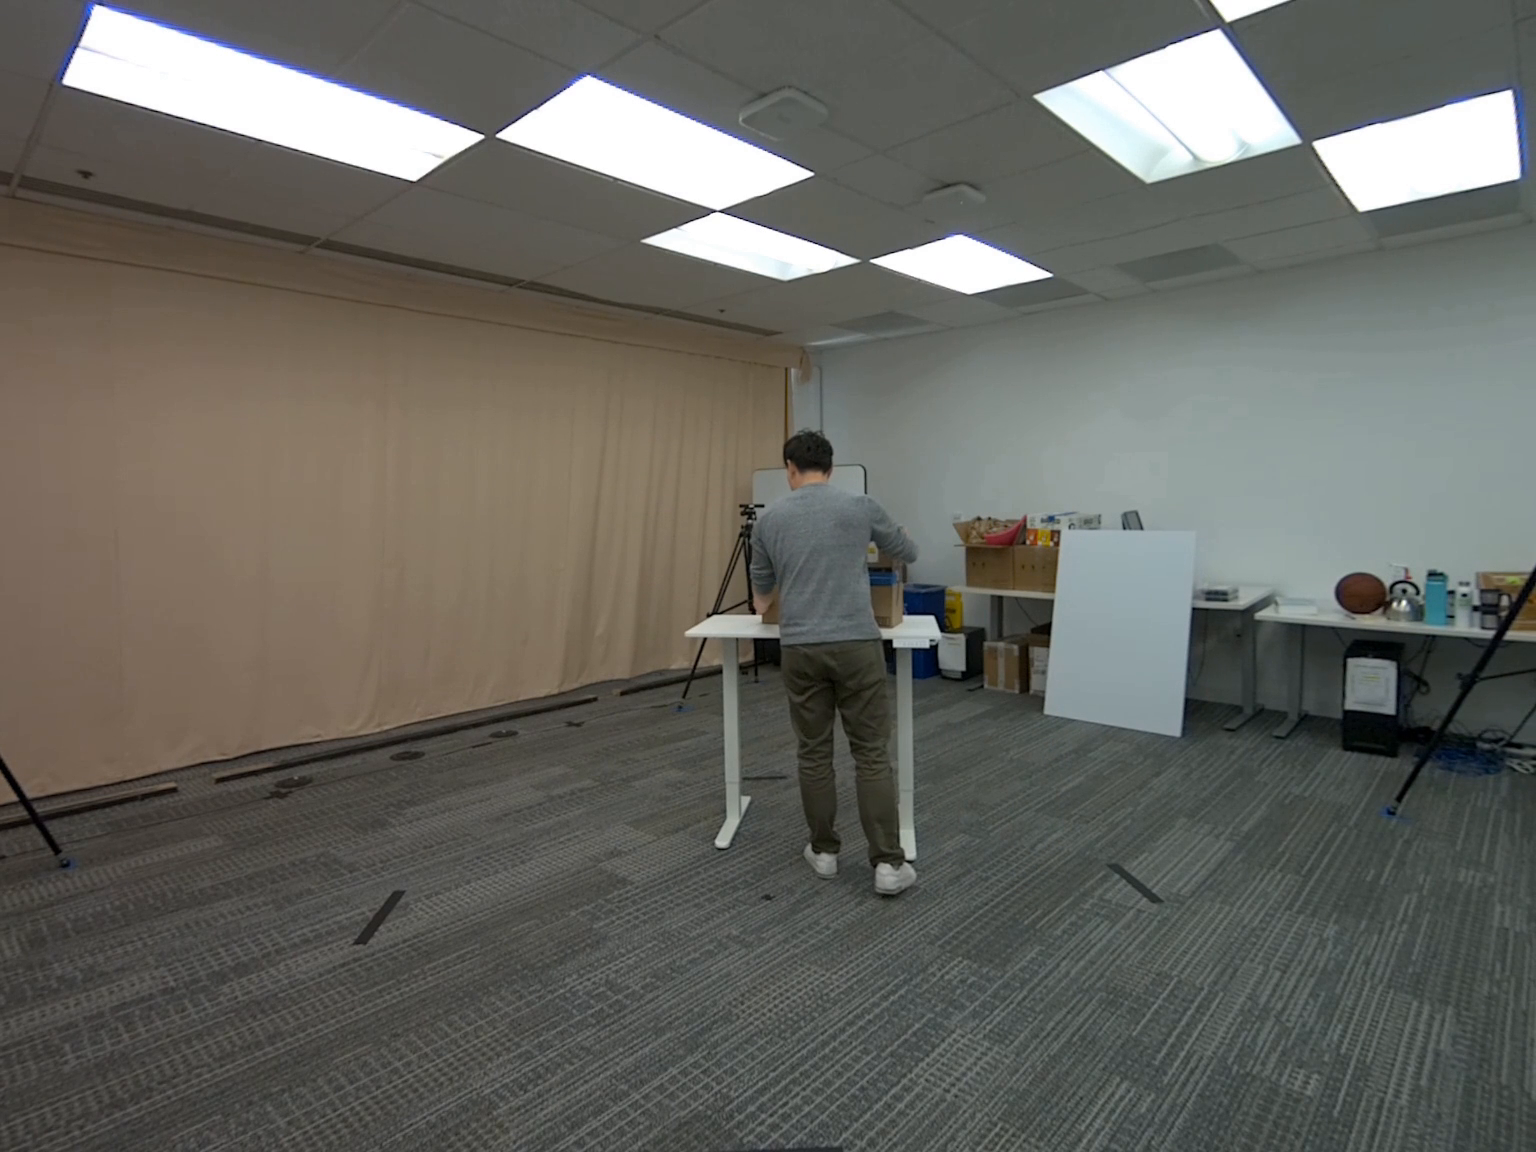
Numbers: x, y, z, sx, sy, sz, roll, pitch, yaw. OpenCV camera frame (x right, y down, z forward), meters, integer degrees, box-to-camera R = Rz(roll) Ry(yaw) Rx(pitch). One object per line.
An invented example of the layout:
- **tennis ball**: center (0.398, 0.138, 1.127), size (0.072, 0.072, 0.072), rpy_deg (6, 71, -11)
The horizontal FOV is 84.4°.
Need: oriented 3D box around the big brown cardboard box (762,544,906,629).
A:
- **big brown cardboard box**: center (0.281, -0.005, 3.595), size (0.603, 0.417, 0.228), rpy_deg (0, 2, 24)
